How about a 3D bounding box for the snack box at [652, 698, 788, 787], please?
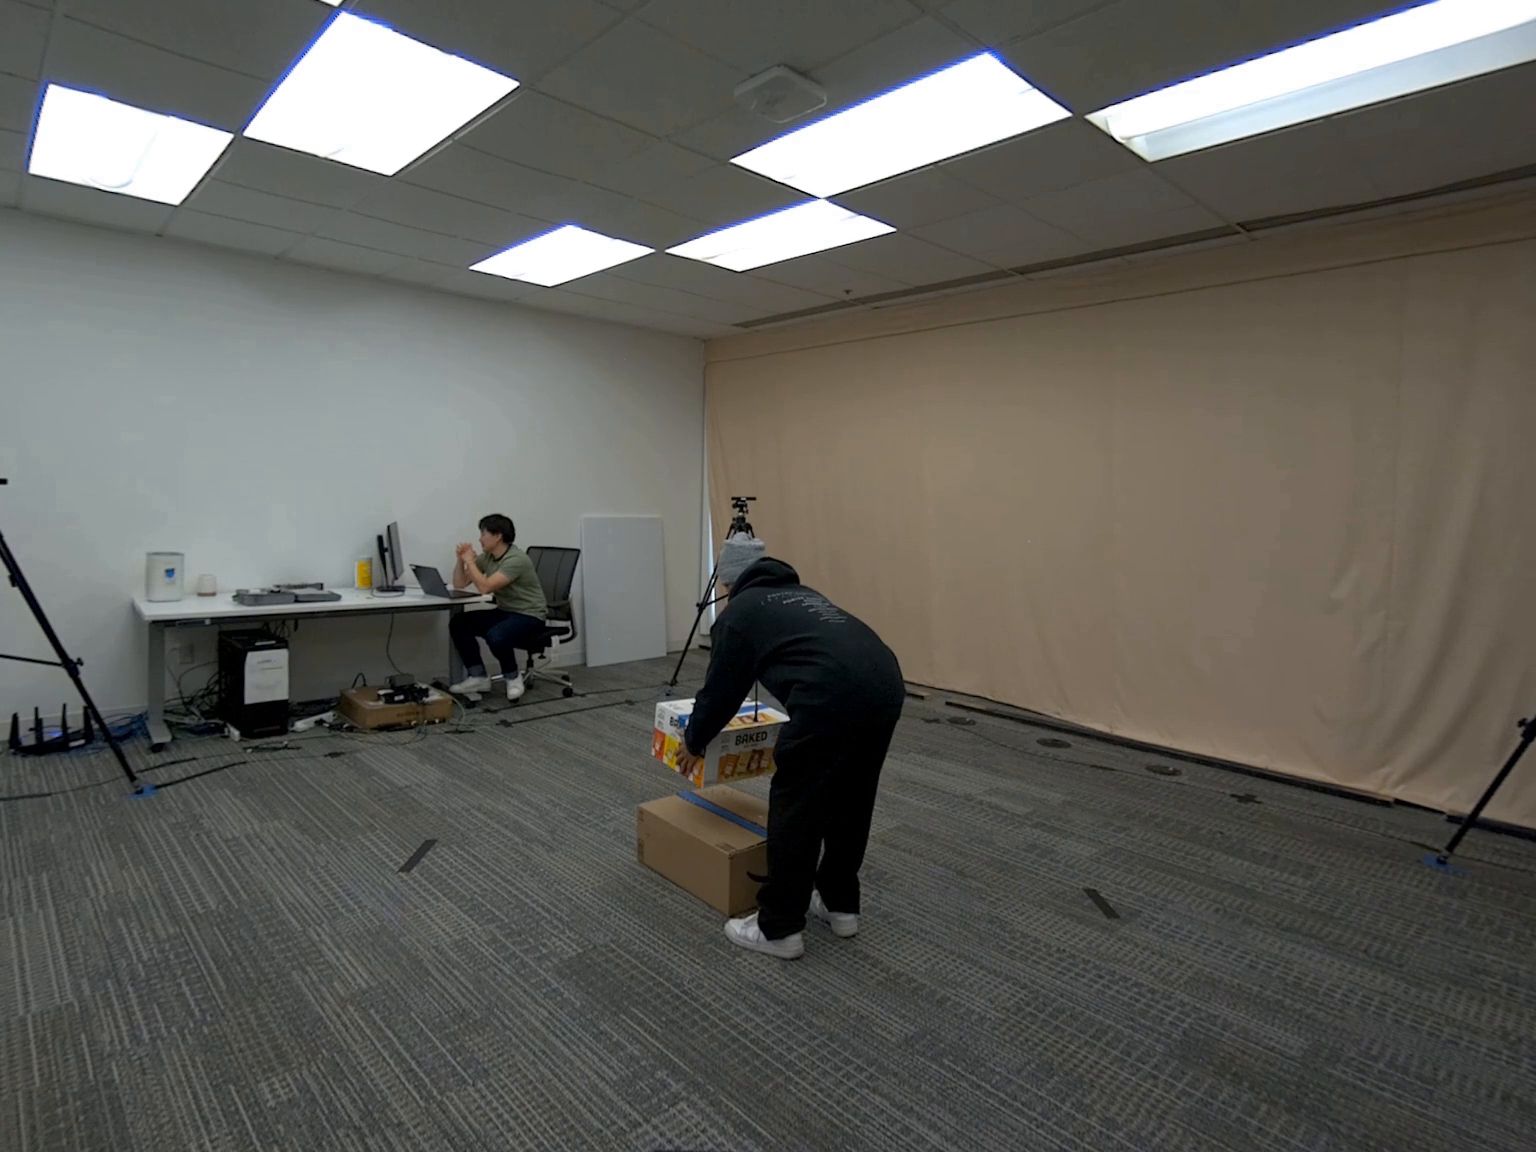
[{"bbox_3d":[-0.177,0.606,3.160,0.396,0.204,0.350,-1,11,-39],"label":"snack box"}]
